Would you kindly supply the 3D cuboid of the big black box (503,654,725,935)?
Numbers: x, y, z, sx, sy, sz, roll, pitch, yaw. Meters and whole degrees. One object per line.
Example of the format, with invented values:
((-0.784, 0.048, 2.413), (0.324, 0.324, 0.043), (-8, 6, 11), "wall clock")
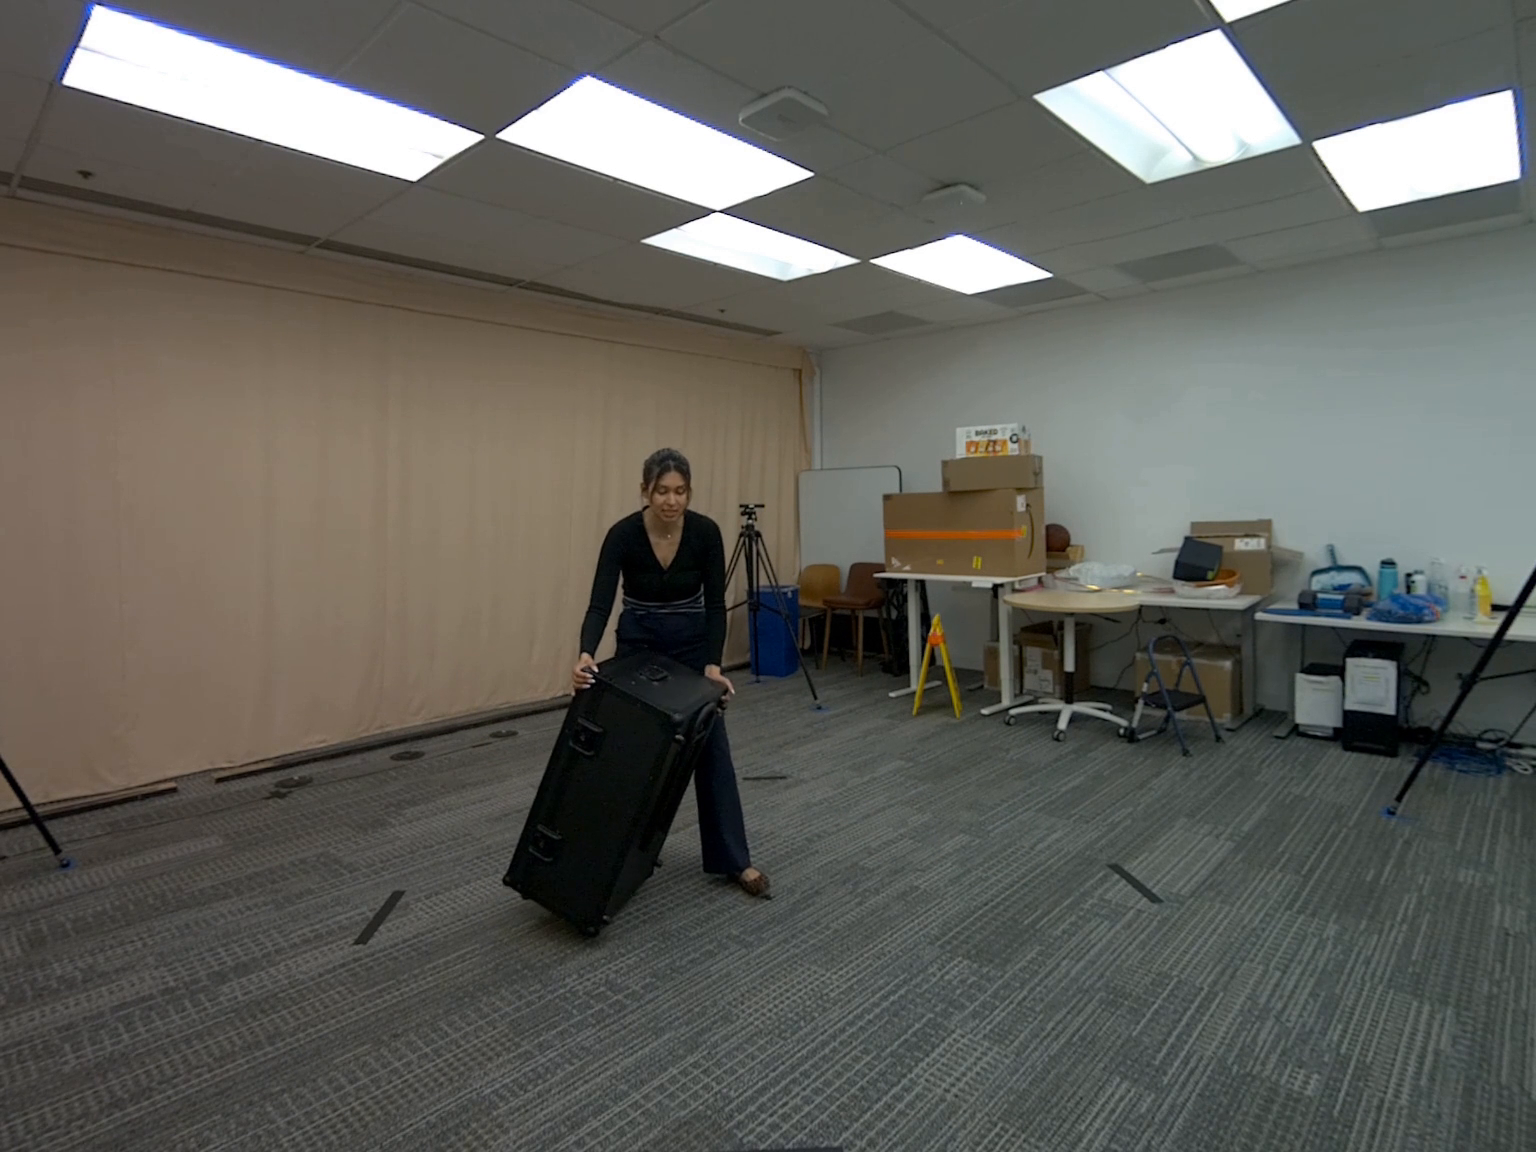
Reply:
((-0.502, 0.731, 2.855), (0.404, 0.860, 0.512), (25, 9, 14), "big black box")
